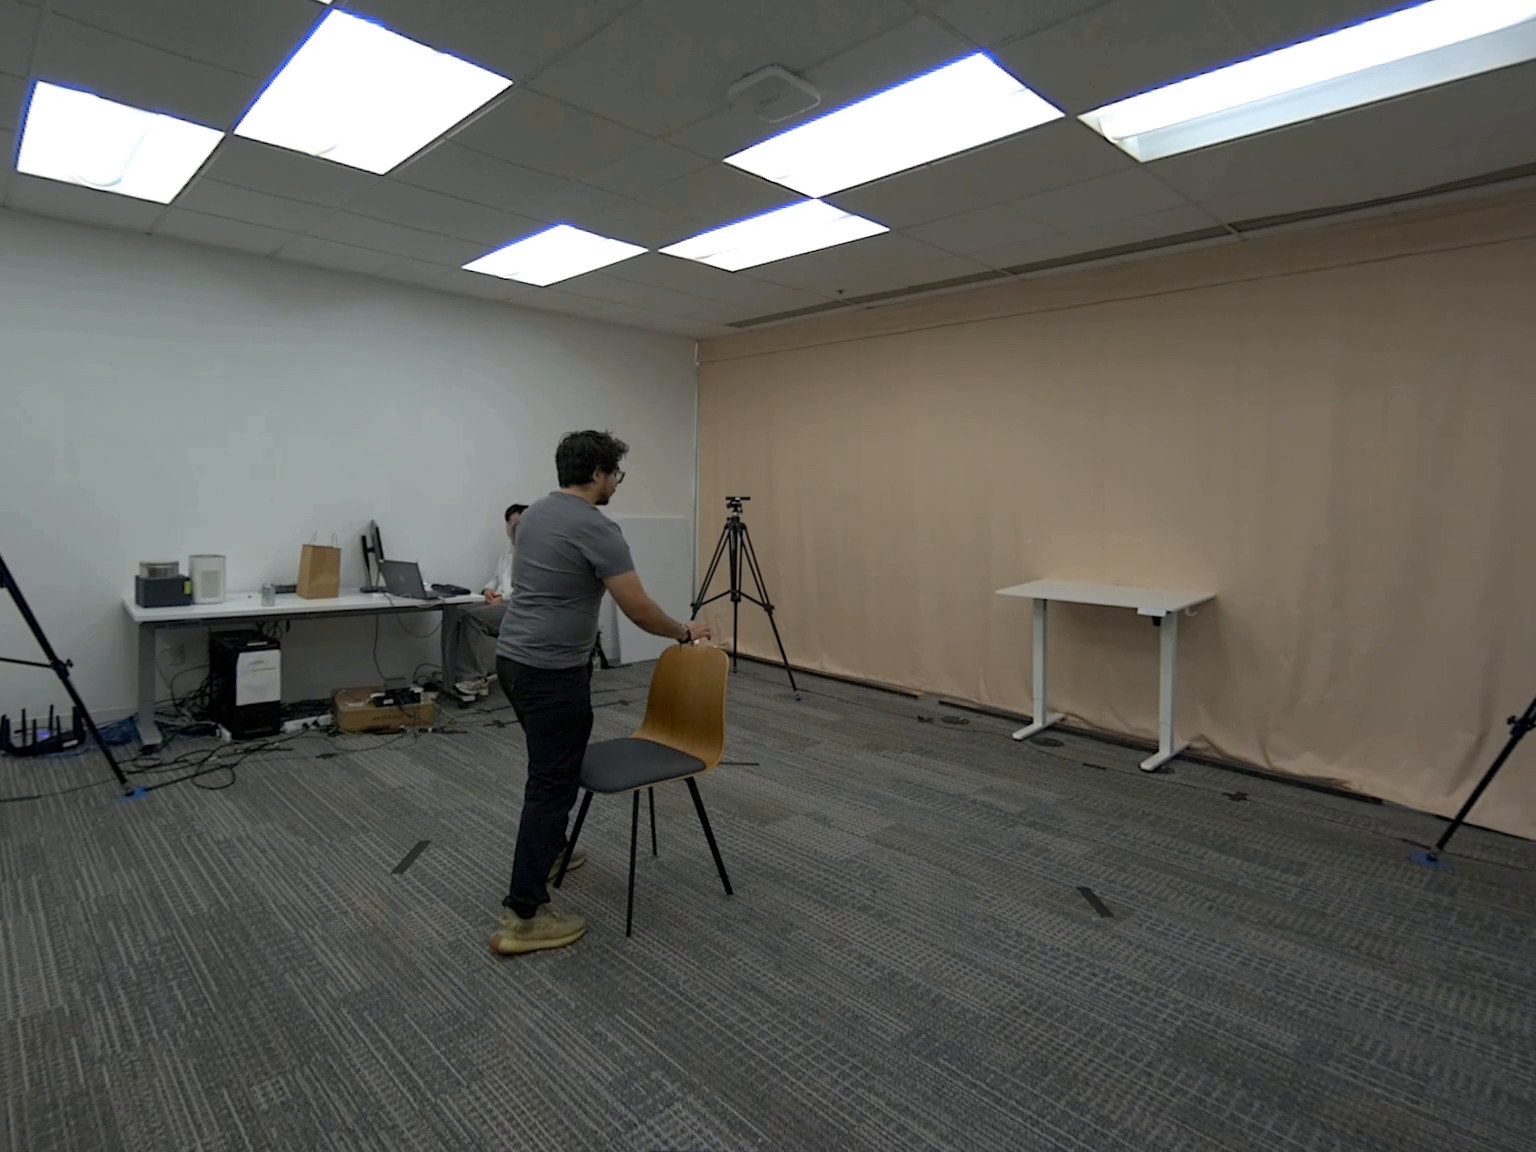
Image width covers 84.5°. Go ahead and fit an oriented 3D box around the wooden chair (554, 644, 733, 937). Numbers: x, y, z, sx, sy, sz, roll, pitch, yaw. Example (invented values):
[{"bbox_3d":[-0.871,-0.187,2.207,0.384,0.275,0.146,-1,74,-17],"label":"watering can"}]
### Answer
[{"bbox_3d":[-0.441,0.687,2.937,0.510,0.877,0.490,3,1,-44],"label":"wooden chair"}]
